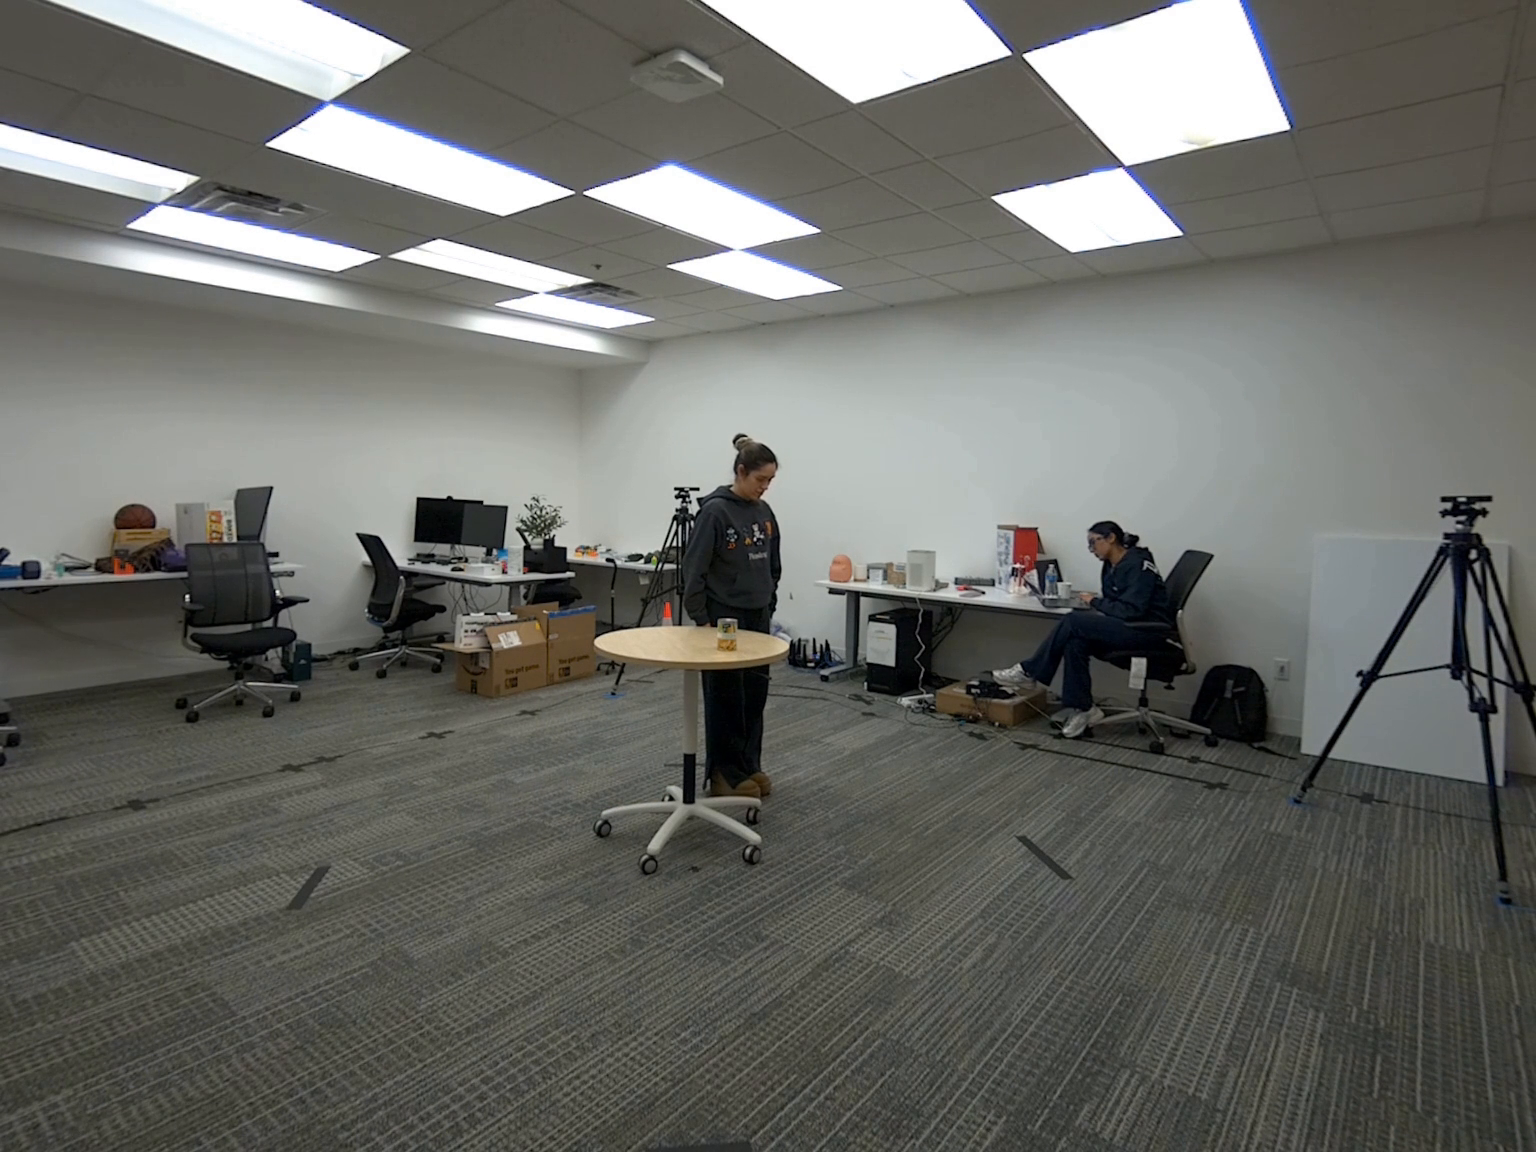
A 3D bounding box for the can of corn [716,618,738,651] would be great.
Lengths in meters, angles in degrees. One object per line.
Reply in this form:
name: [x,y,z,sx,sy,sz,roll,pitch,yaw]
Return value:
can of corn: [-0.164,0.216,3.216,0.074,0.110,0.074,2,5,-2]
